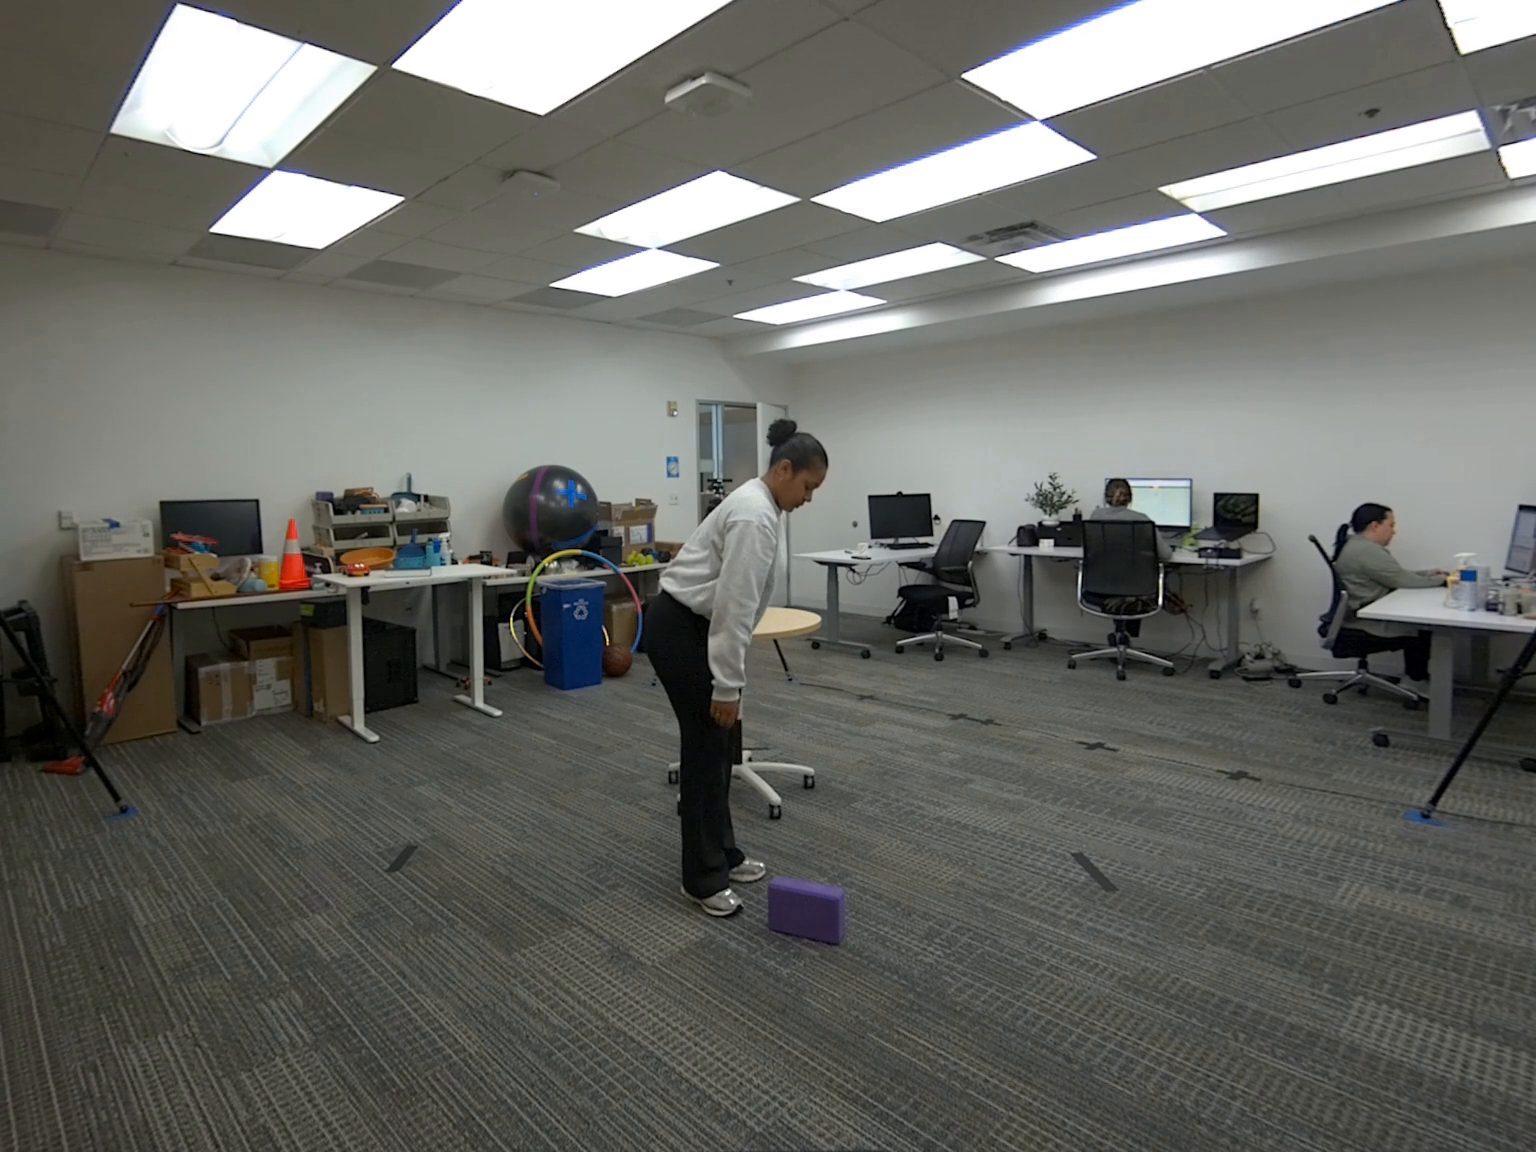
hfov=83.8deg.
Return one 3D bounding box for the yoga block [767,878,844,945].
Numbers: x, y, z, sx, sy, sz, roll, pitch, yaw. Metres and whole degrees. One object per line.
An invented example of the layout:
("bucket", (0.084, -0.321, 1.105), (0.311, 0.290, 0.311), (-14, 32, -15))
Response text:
("yoga block", (0.119, 1.013, 2.623), (0.234, 0.148, 0.075), (3, 4, 24))
